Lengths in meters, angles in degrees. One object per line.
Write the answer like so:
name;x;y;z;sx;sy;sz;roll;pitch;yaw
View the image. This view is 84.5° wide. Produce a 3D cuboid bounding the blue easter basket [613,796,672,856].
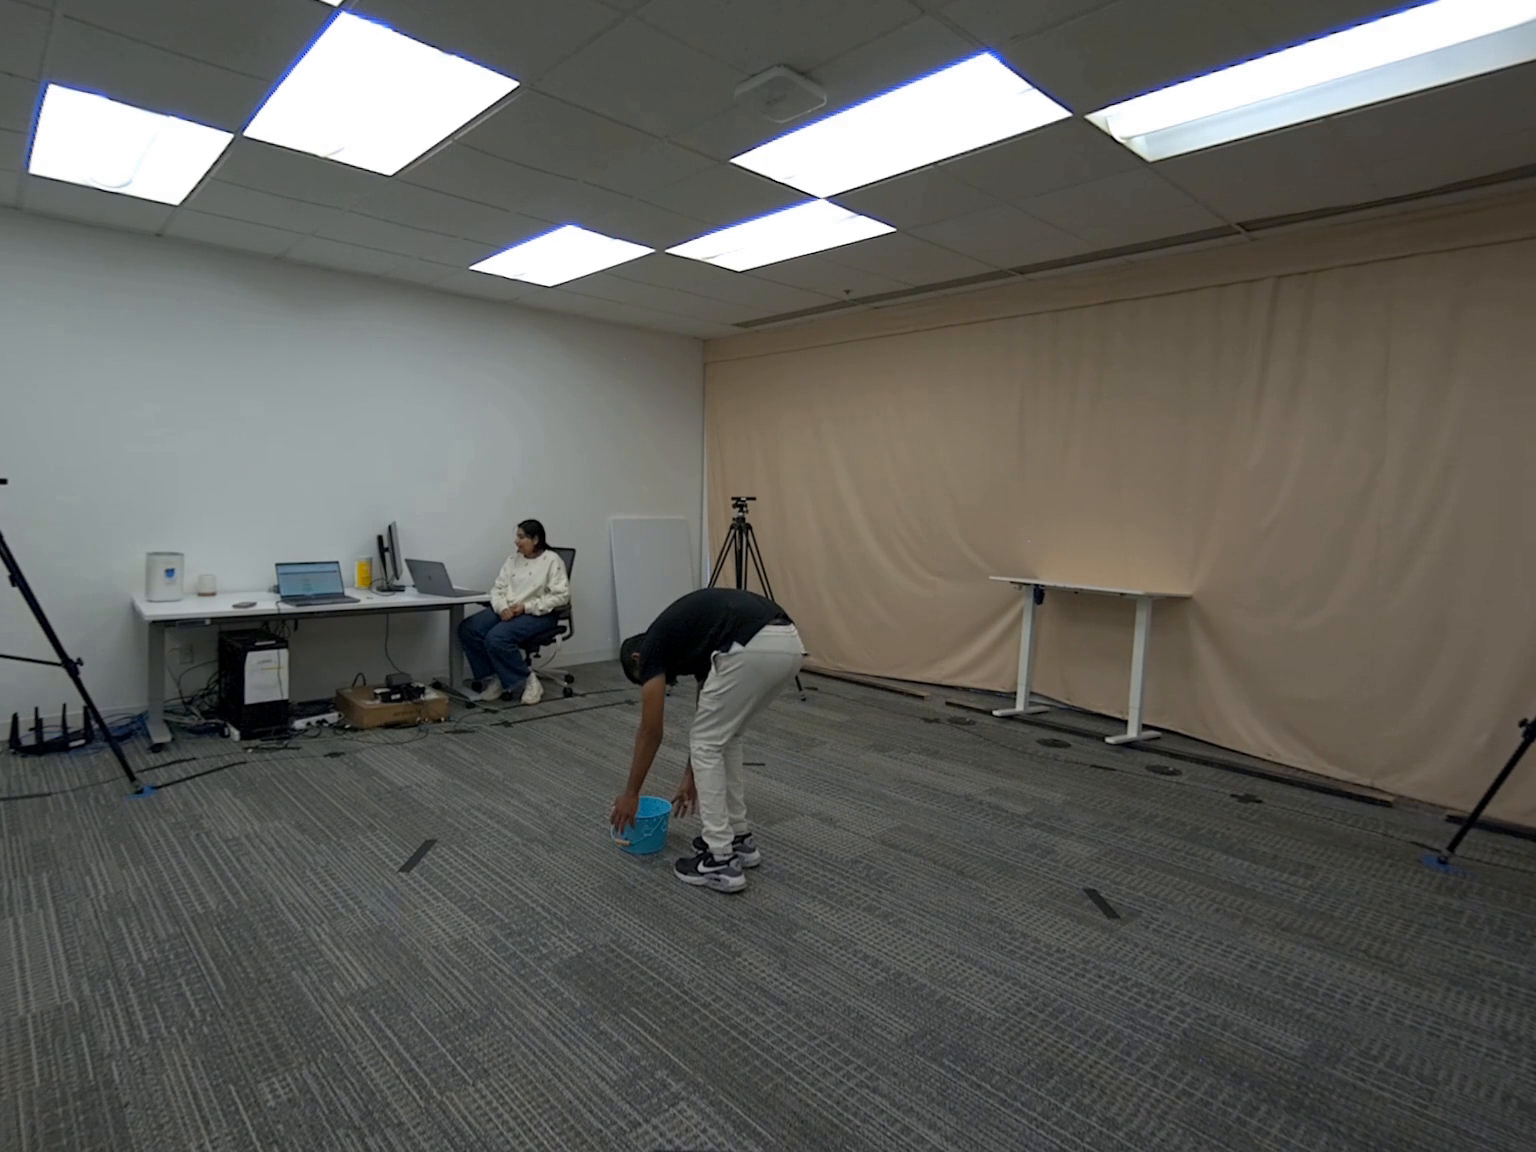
blue easter basket;-0.514;0.993;3.371;0.243;0.155;0.244;2;5;-1
